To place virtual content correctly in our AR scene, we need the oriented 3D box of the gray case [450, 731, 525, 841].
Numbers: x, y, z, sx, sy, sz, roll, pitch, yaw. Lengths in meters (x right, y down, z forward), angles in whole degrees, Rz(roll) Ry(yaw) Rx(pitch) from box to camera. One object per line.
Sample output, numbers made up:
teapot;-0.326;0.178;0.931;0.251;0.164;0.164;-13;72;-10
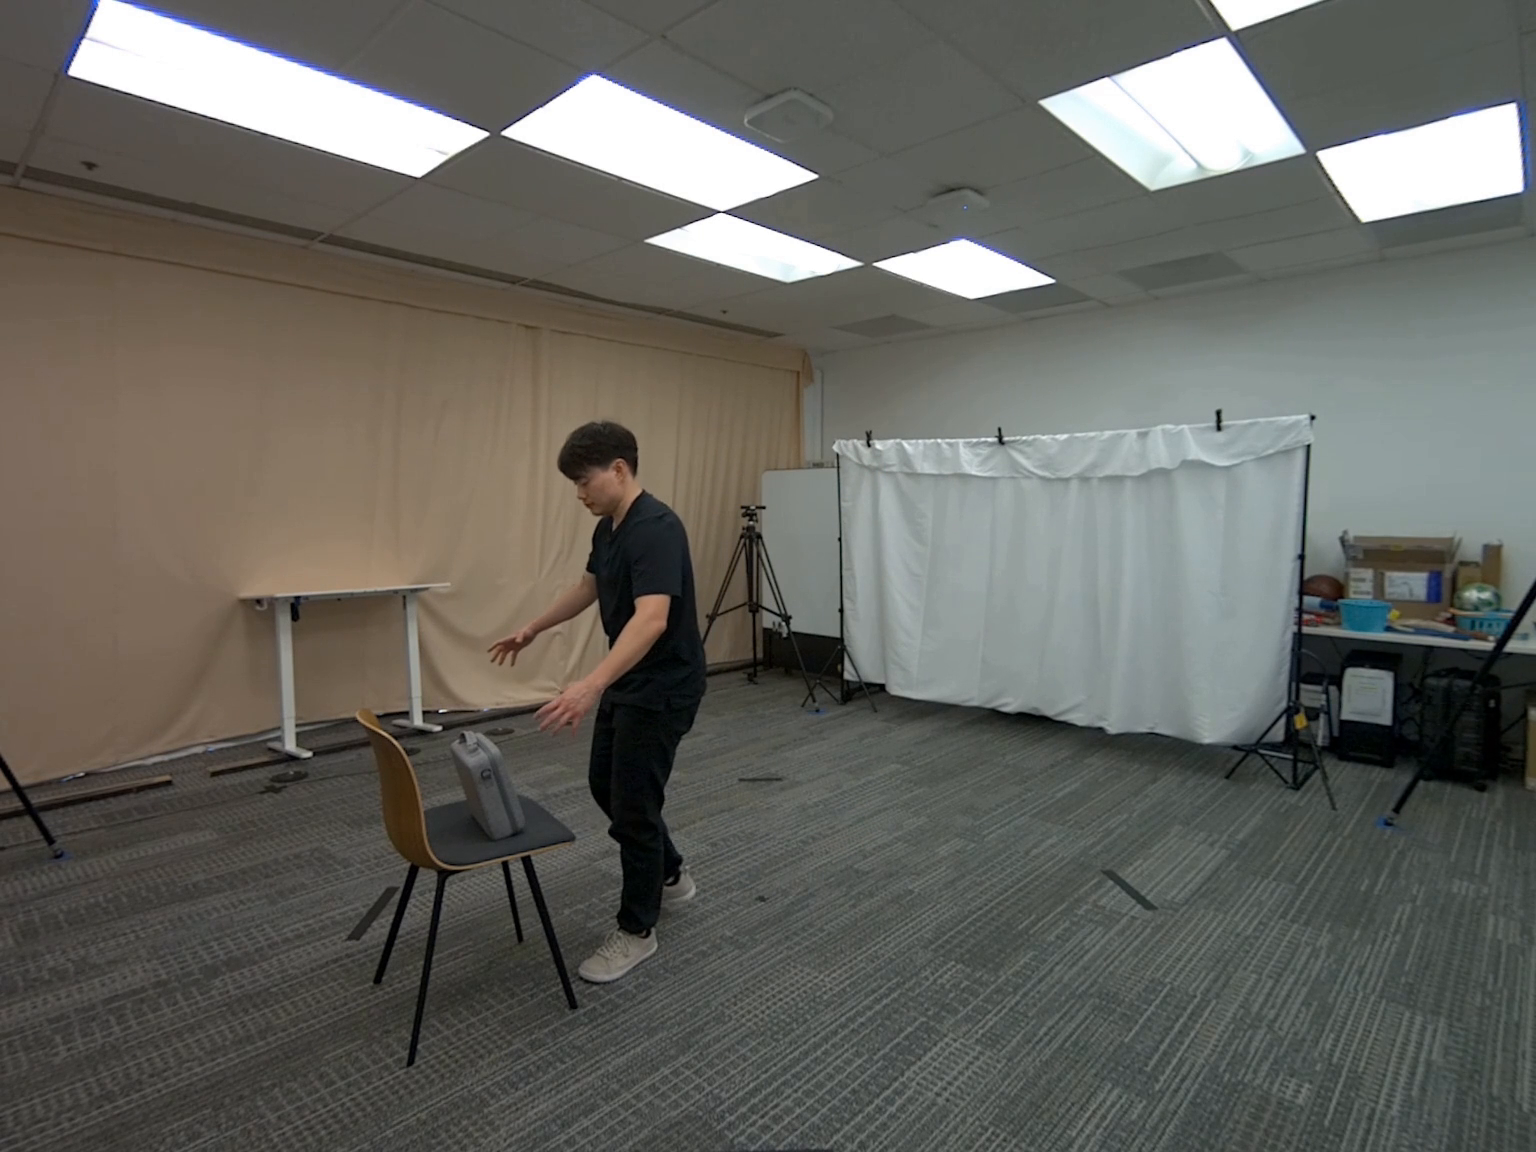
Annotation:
gray case;-0.804;0.591;2.388;0.102;0.258;0.265;-20;13;-30
